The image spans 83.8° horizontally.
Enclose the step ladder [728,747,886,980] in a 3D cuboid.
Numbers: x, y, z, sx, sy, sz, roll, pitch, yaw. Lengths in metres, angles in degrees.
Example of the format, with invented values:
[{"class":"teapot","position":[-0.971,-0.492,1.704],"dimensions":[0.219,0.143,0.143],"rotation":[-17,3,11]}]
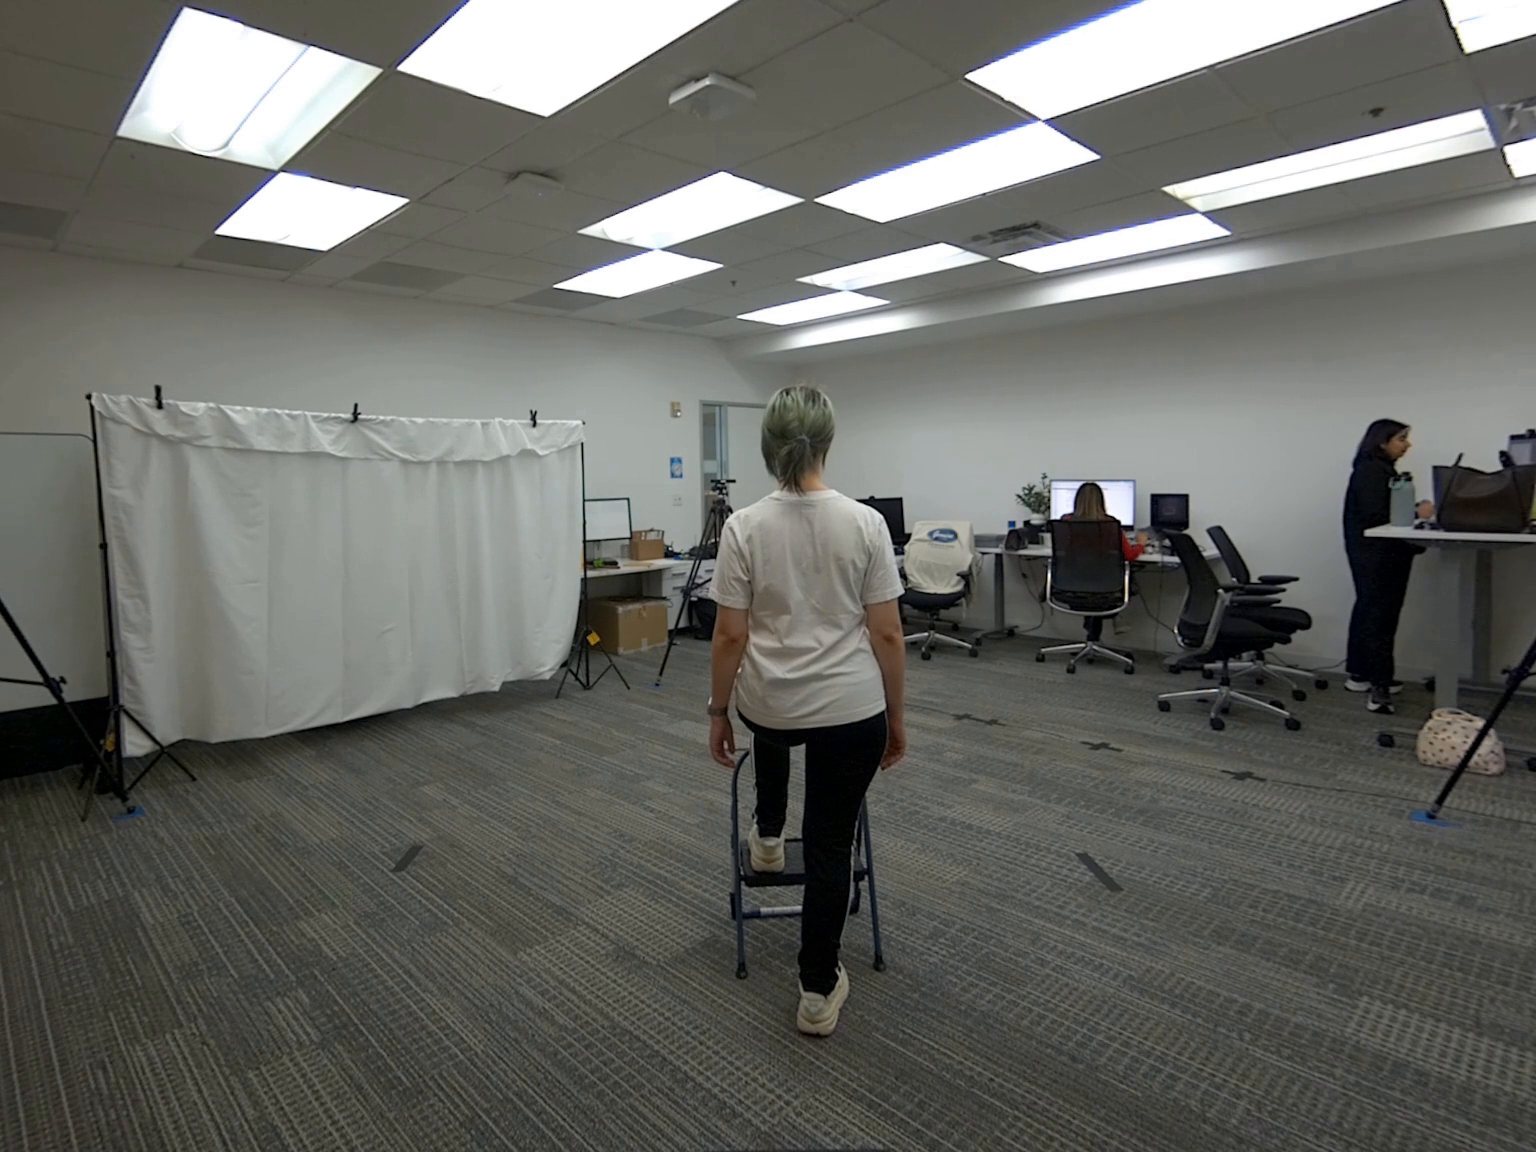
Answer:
[{"class":"step ladder","position":[0.106,0.811,2.565],"dimensions":[0.428,0.604,0.352],"rotation":[-1,4,-5]}]
